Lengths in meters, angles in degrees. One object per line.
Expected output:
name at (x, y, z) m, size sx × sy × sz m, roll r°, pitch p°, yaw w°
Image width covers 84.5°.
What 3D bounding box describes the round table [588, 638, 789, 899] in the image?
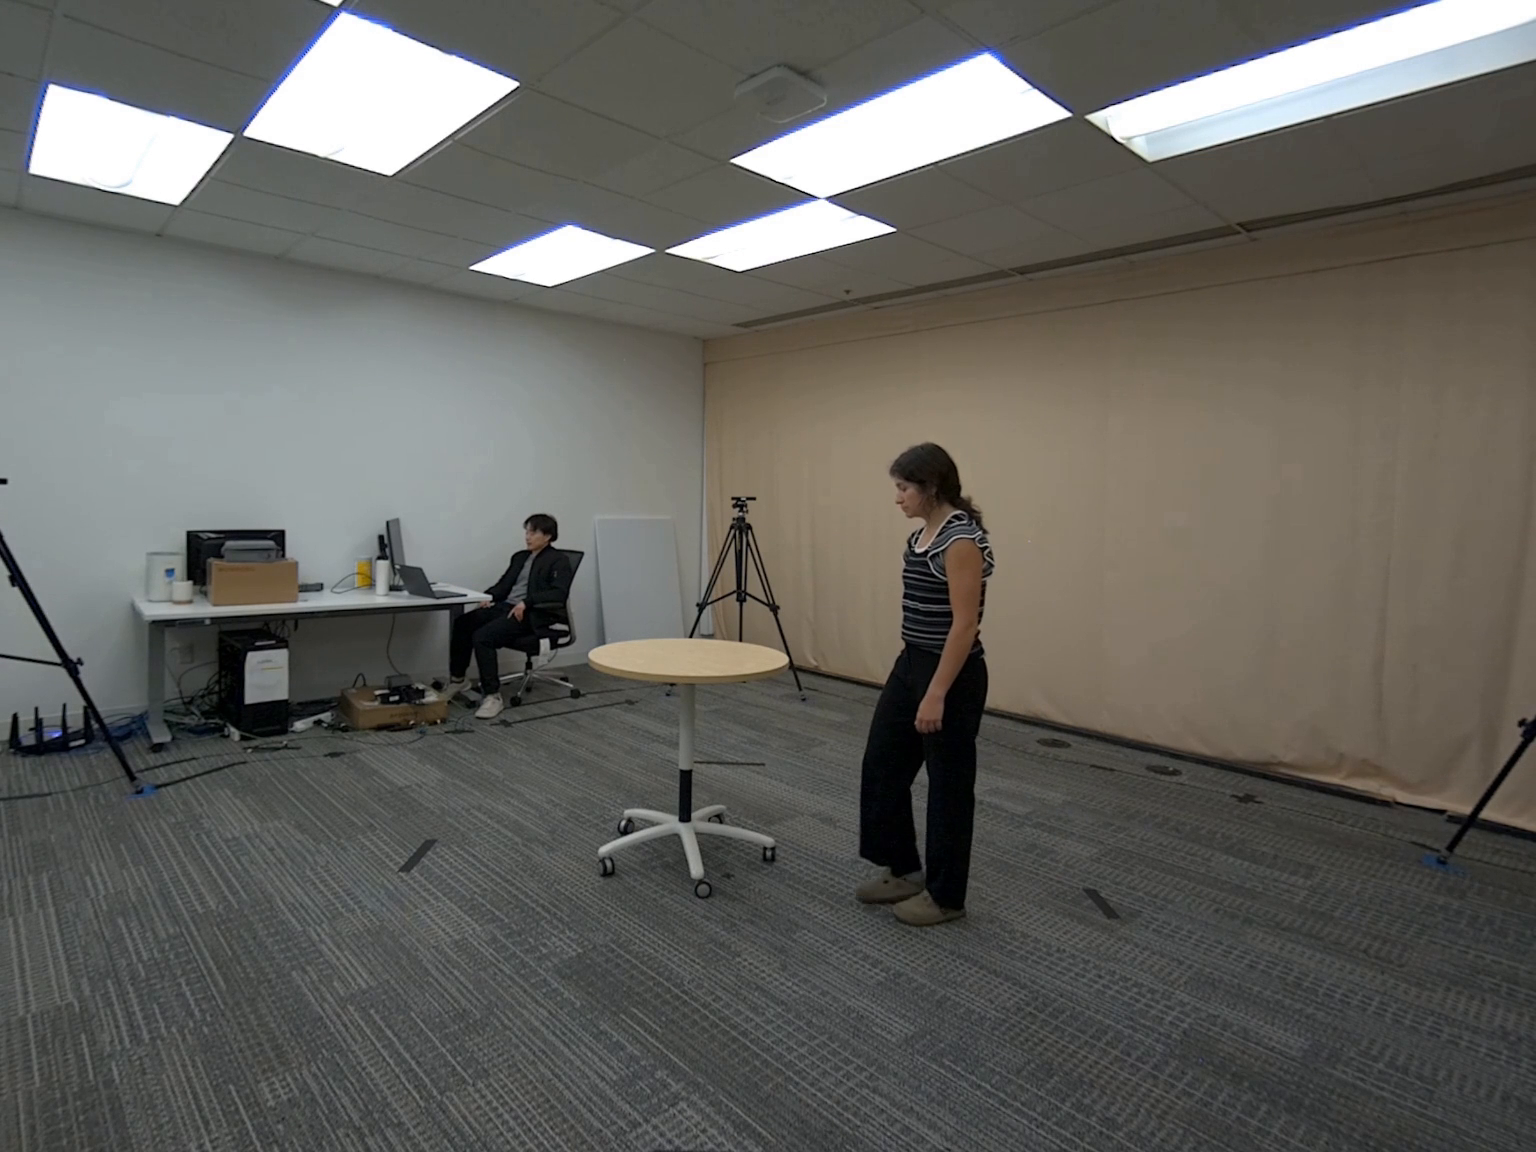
round table at (-0.322, 0.697, 3.237) m, size 0.784 × 0.785 × 0.787 m, roll 1°, pitch 3°, yaw -1°
